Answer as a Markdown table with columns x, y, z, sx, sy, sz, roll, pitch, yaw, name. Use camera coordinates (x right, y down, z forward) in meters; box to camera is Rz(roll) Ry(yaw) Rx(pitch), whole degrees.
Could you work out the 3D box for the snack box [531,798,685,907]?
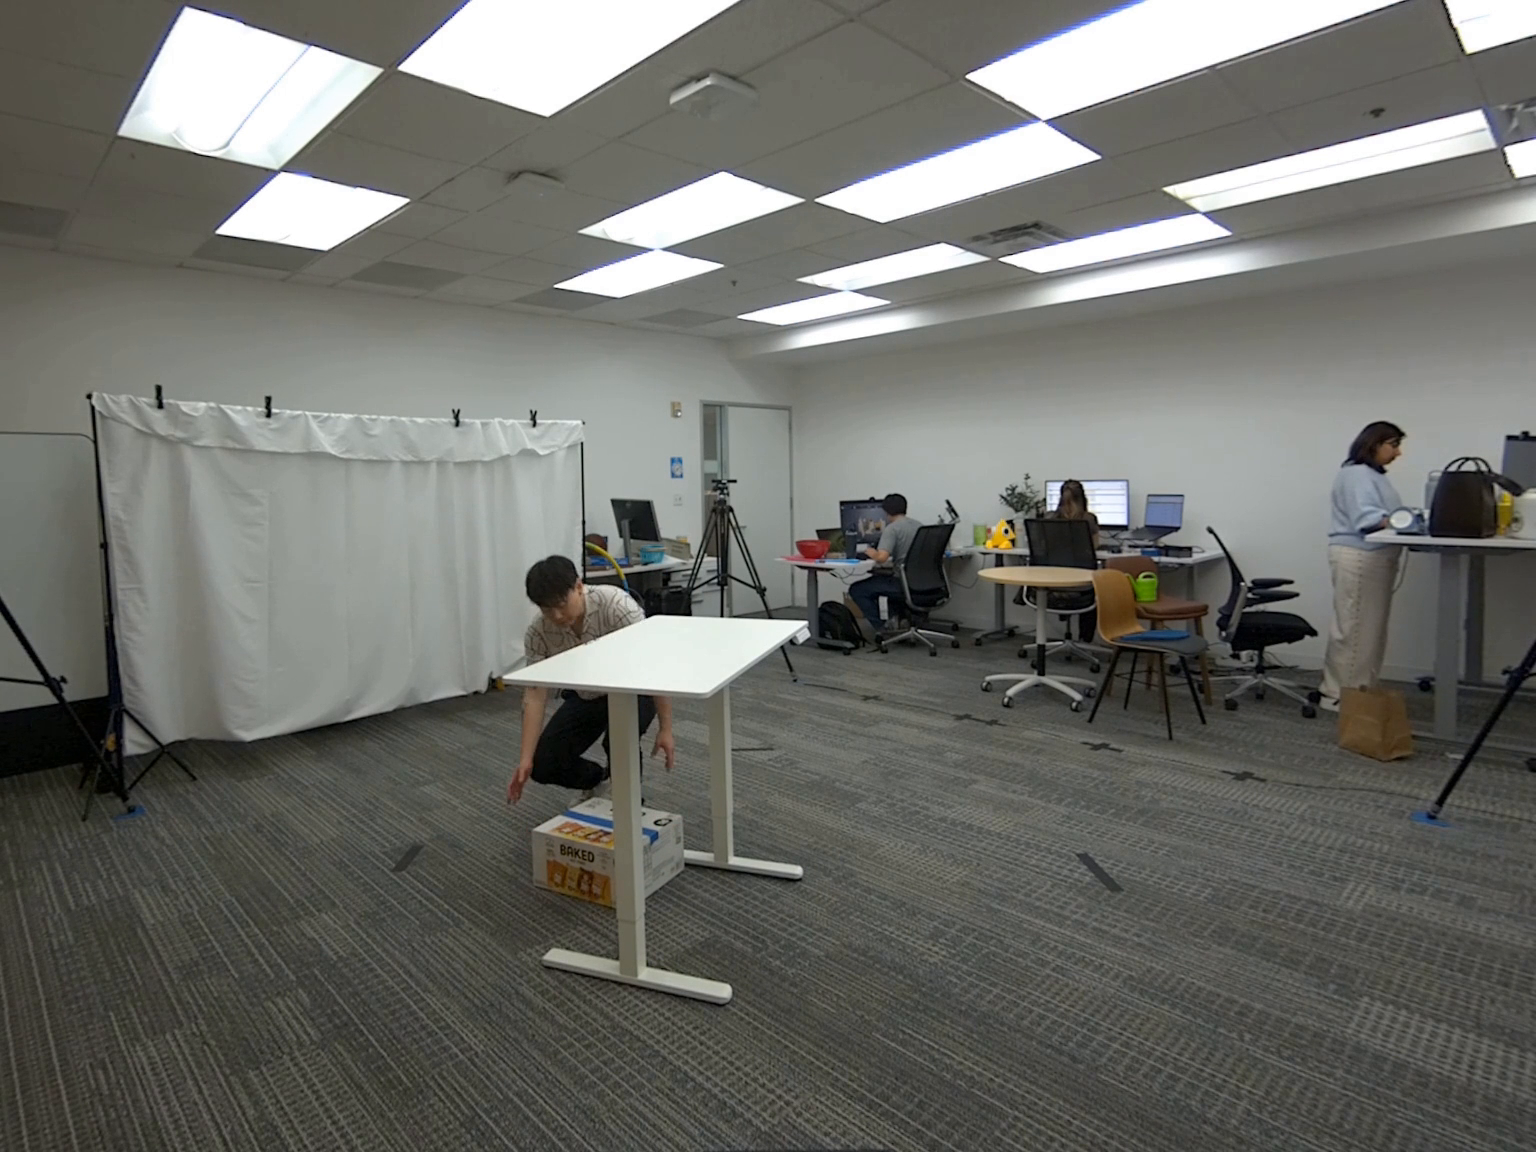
| x | y | z | sx | sy | sz | roll | pitch | yaw | name |
| --- | --- | --- | --- | --- | --- | --- | --- | --- | --- |
| -0.555 | 0.970 | 3.002 | 0.415 | 0.204 | 0.334 | 1 | 8 | 28 | snack box |
